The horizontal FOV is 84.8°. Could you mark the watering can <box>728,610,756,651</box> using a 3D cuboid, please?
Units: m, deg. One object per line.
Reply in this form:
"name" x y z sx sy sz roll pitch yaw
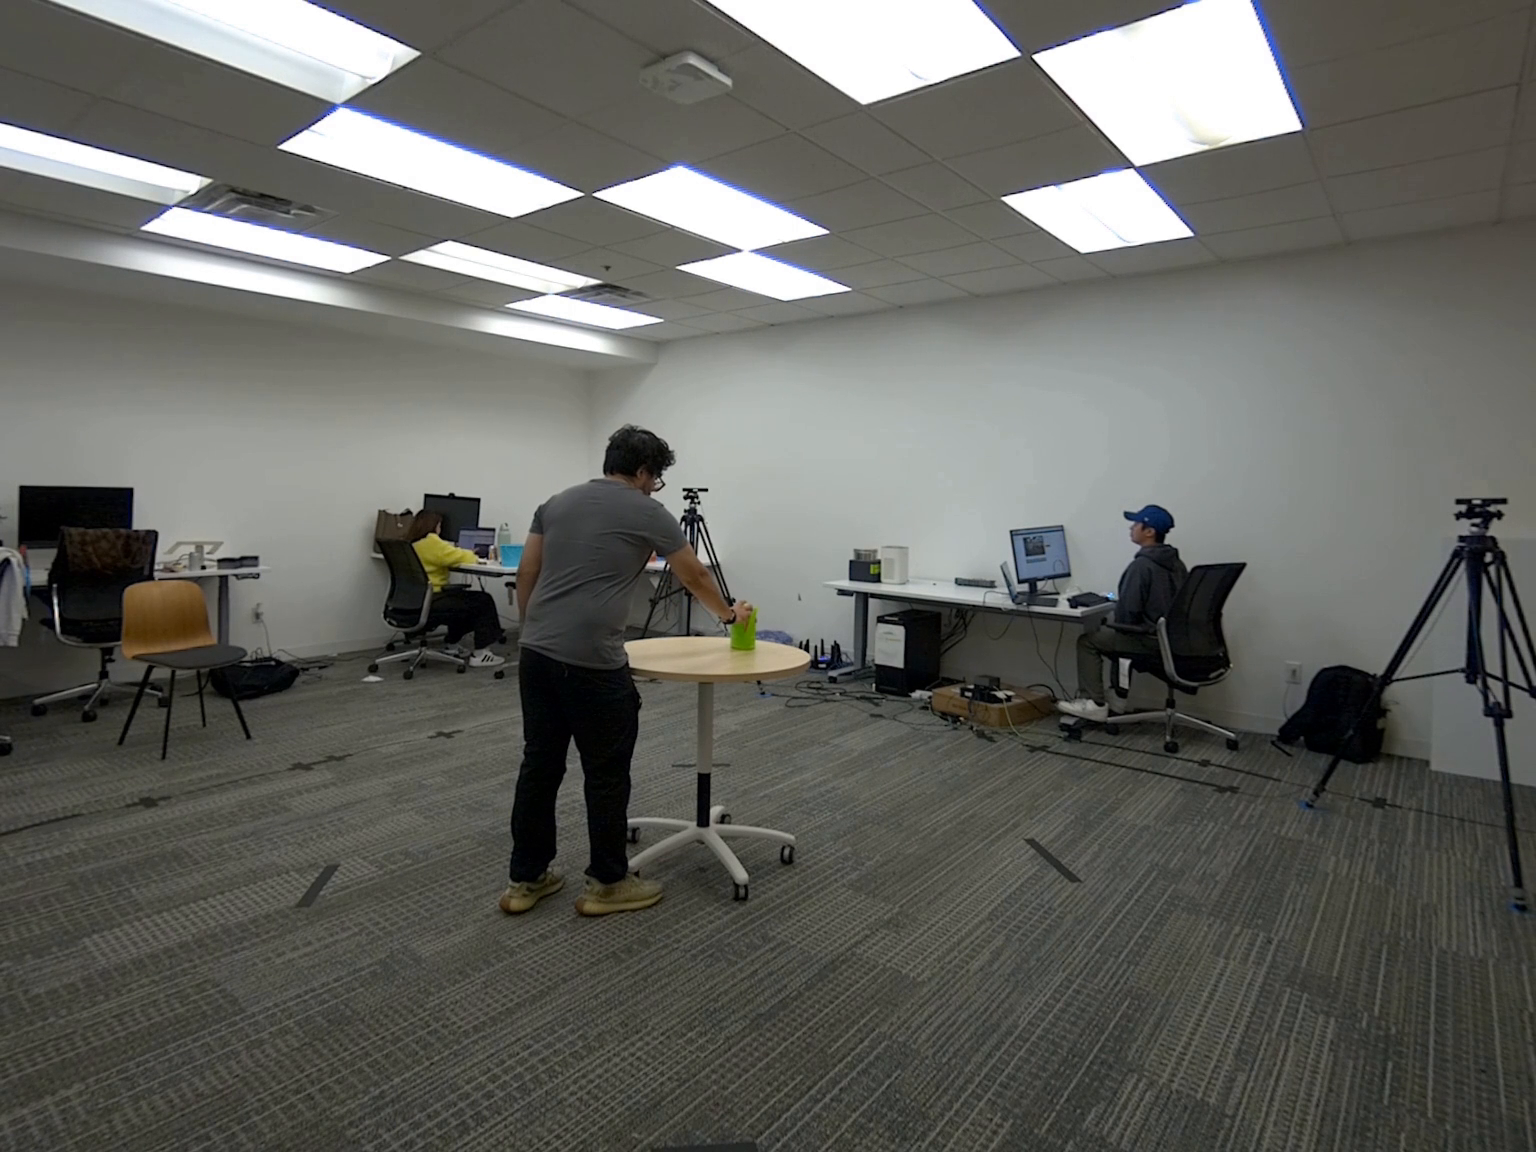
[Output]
"watering can" -0.105 0.191 3.248 0.098 0.177 0.279 1 1 -3
